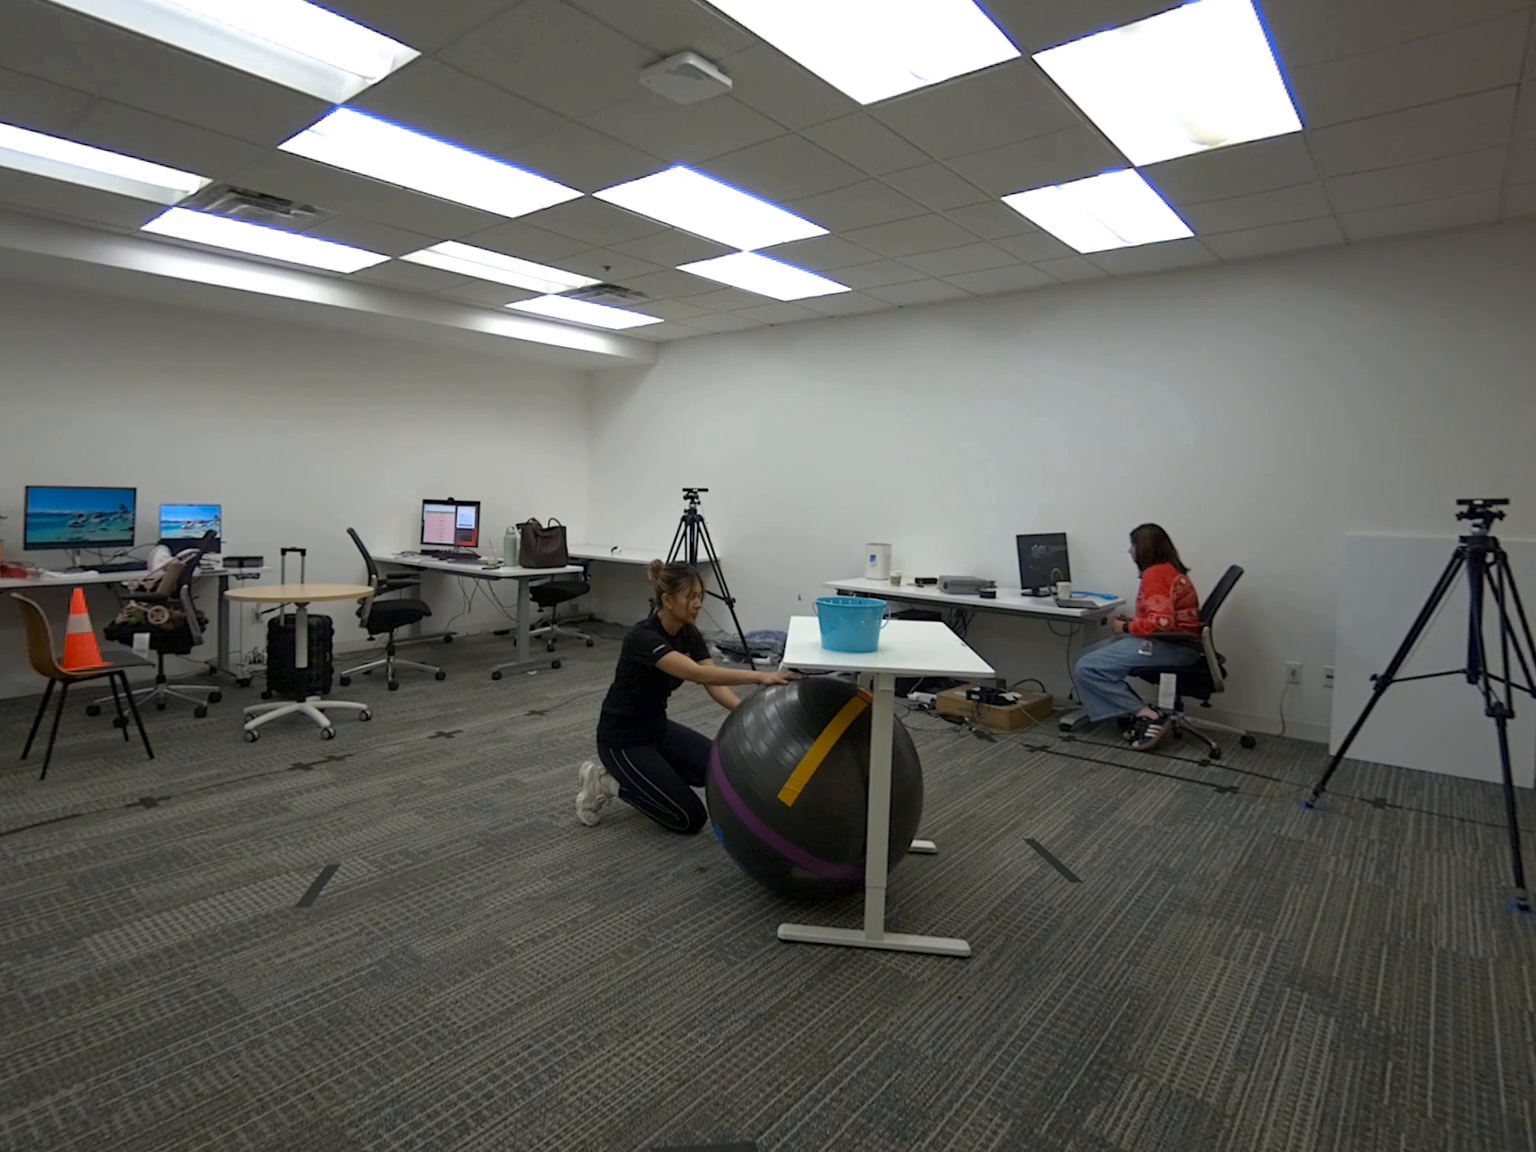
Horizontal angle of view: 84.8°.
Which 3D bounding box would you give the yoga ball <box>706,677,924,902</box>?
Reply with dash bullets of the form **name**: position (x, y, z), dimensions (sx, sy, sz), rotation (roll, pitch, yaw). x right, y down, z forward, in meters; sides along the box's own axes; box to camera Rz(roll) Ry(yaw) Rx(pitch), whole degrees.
- **yoga ball**: position (0.161, 0.737, 2.977), dimensions (0.757, 0.756, 0.762), rotation (1, 4, -2)
